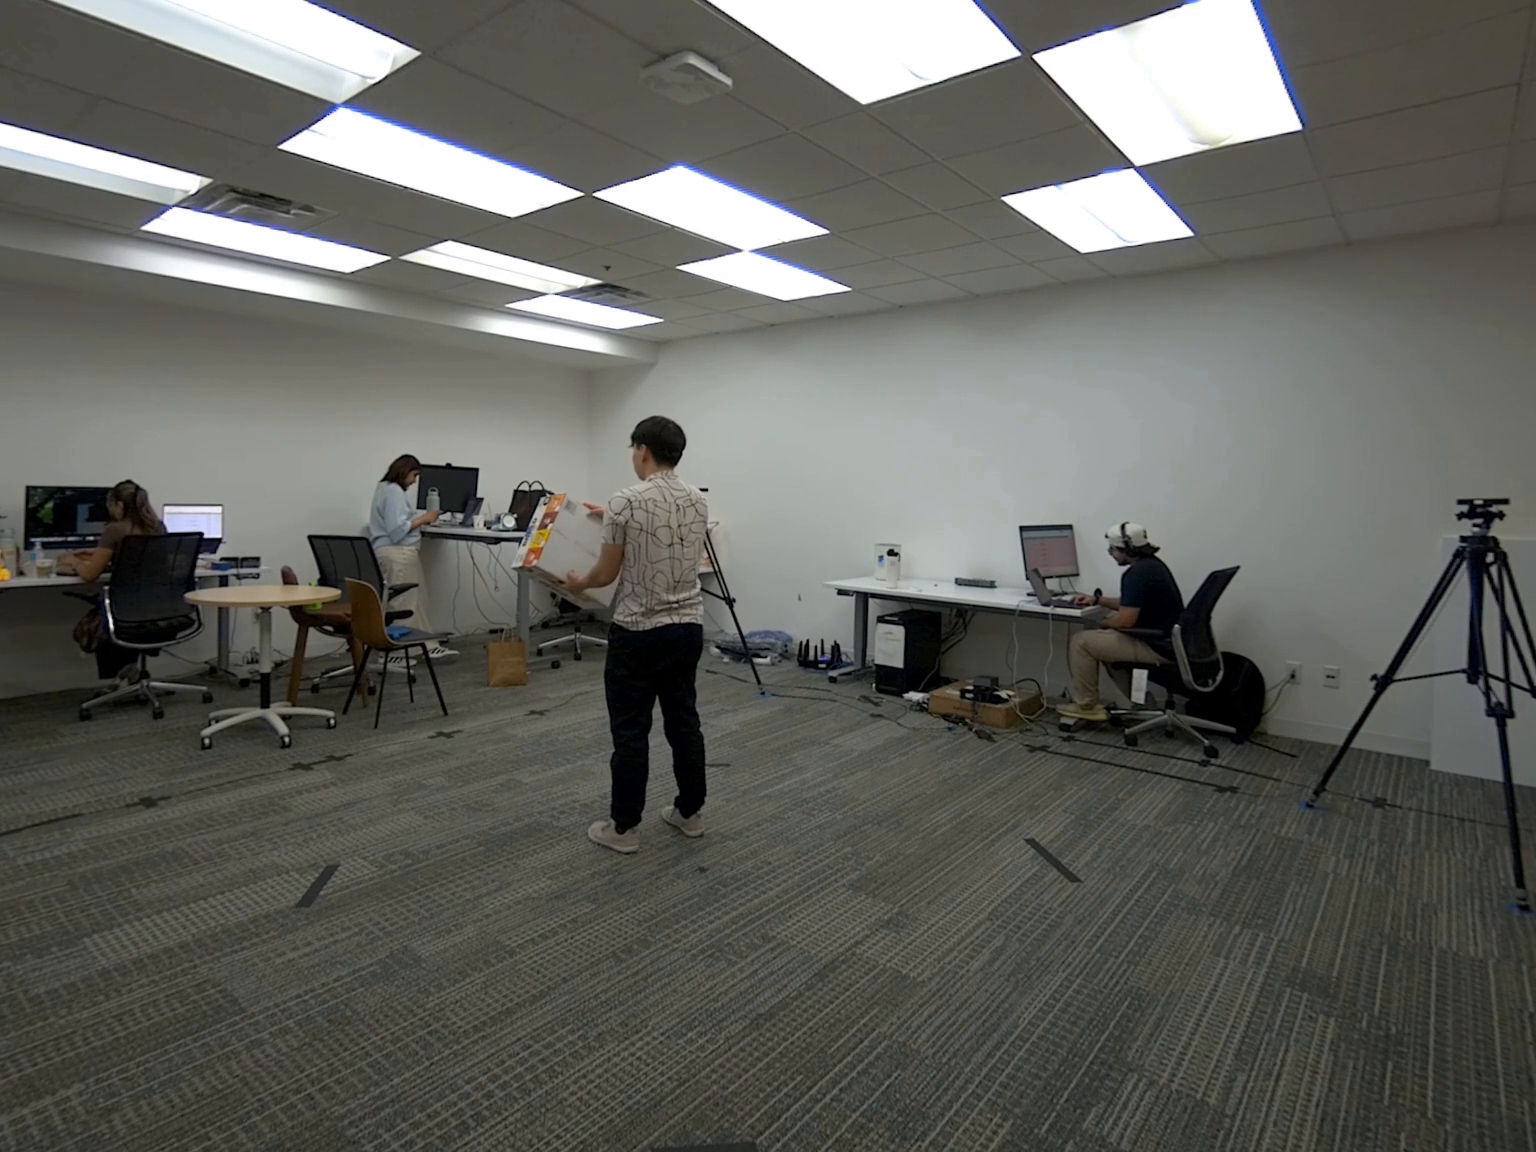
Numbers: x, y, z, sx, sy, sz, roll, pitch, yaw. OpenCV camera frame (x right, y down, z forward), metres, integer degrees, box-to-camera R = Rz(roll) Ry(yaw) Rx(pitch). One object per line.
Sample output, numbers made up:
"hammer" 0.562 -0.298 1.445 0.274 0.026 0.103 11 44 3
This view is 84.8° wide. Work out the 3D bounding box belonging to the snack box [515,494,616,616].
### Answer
"snack box" -0.844 -0.104 3.662 0.211 0.344 0.389 -6 -32 46
